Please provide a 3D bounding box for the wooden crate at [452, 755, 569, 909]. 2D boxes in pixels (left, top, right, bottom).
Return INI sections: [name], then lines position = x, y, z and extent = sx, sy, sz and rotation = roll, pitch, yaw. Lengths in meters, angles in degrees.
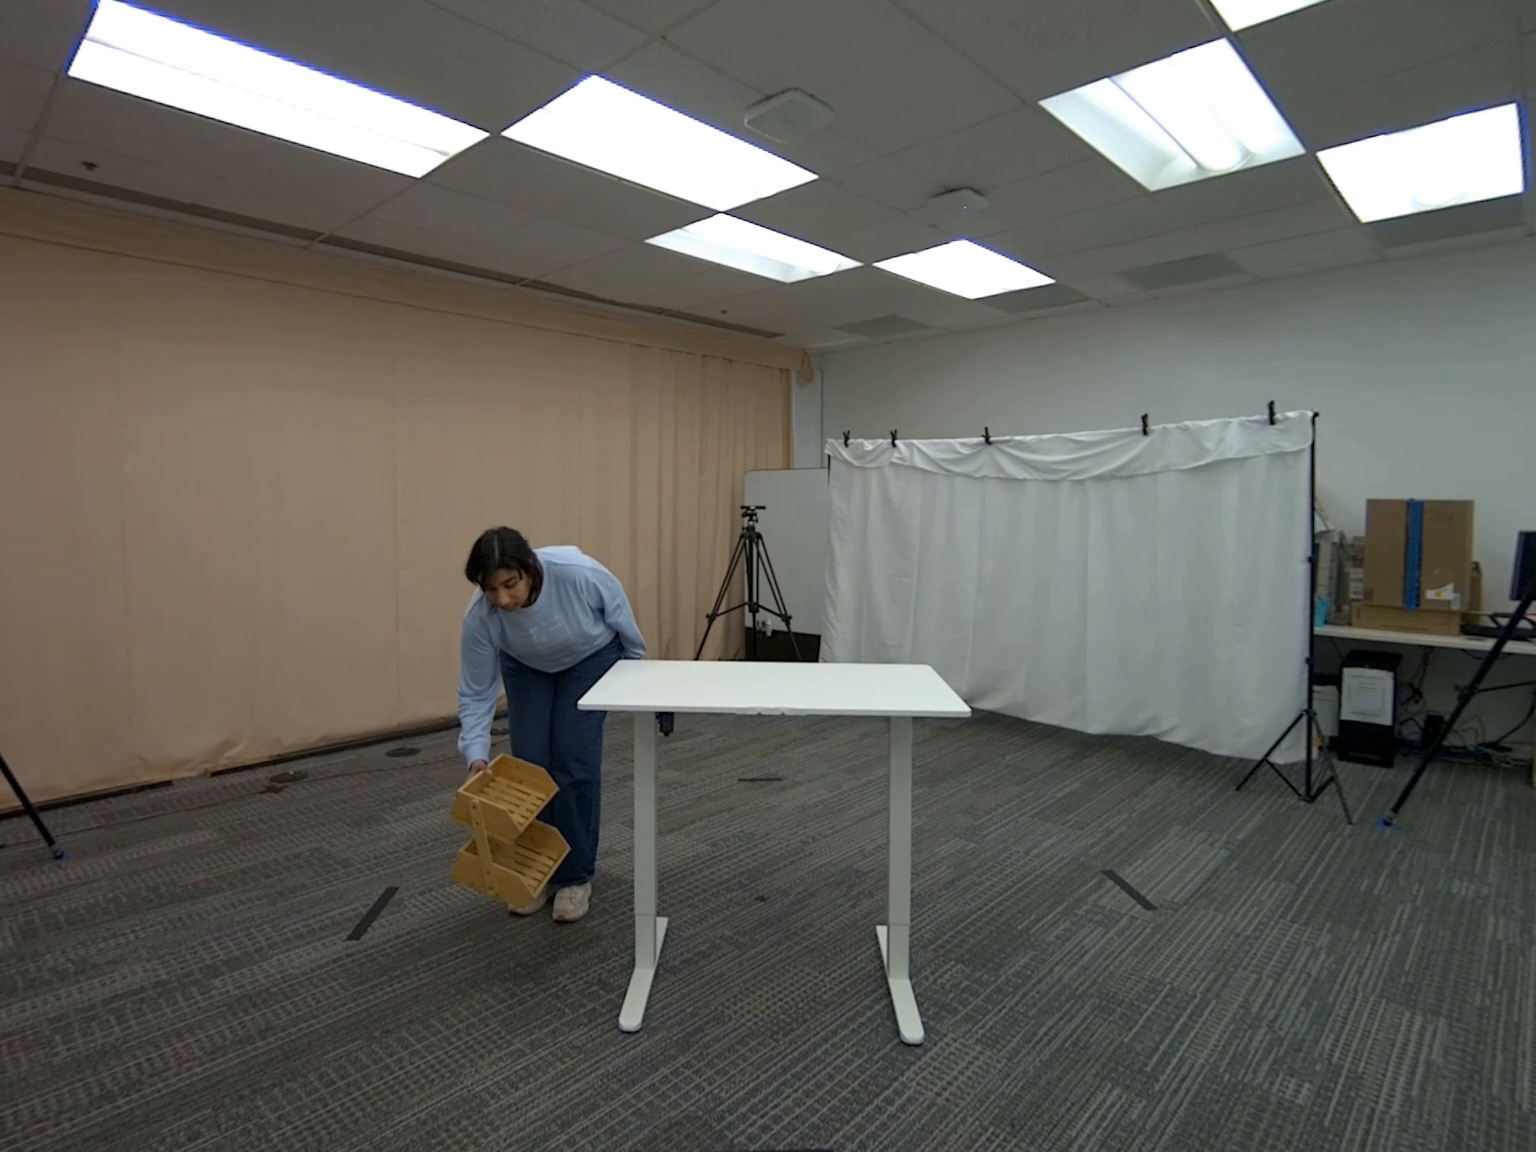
[wooden crate]
position = -0.720, 0.739, 2.485
extent = 0.305, 0.272, 0.322
rotation = 17, 10, 8
